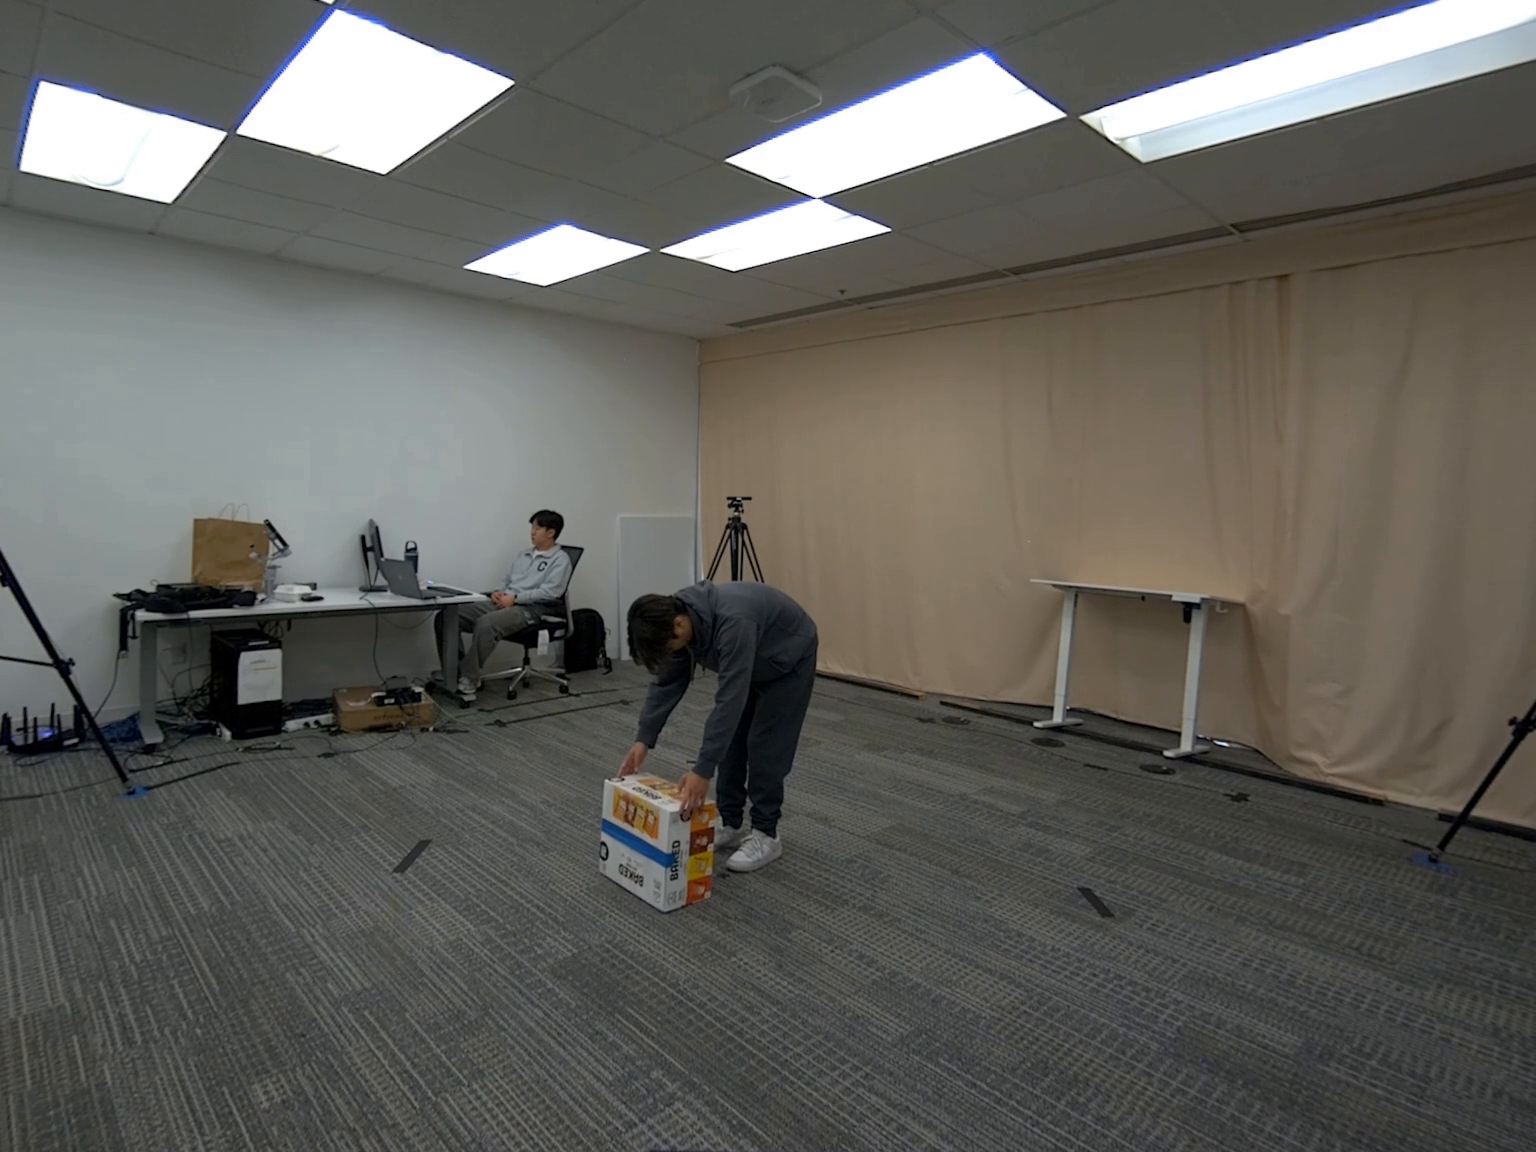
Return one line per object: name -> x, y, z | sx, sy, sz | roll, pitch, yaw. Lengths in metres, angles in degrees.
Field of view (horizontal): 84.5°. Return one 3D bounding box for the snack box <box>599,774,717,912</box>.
snack box -> -0.409, 0.938, 3.013 | 0.200, 0.340, 0.415 | 3, 2, -43
